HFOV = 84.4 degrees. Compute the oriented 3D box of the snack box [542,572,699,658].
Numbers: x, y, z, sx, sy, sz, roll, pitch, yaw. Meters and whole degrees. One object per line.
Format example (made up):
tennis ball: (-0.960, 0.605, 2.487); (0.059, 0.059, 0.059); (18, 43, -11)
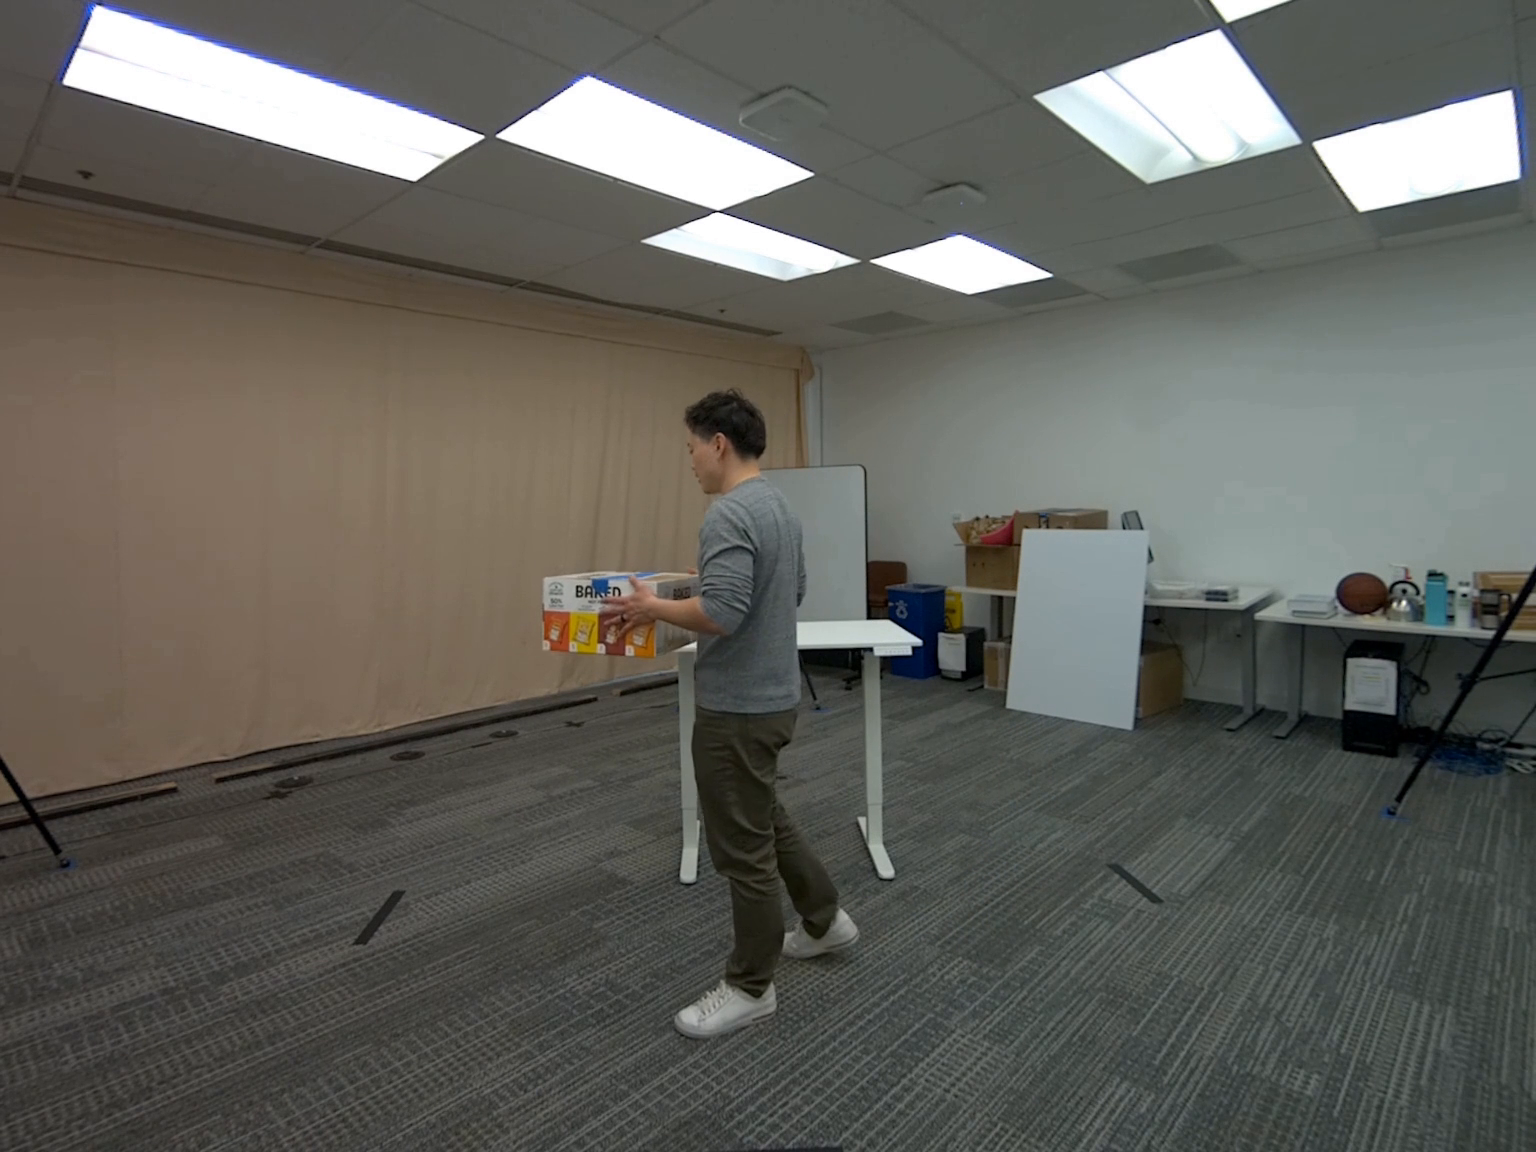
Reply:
snack box: (-0.399, 0.105, 2.453); (0.347, 0.205, 0.398); (2, 3, 17)
